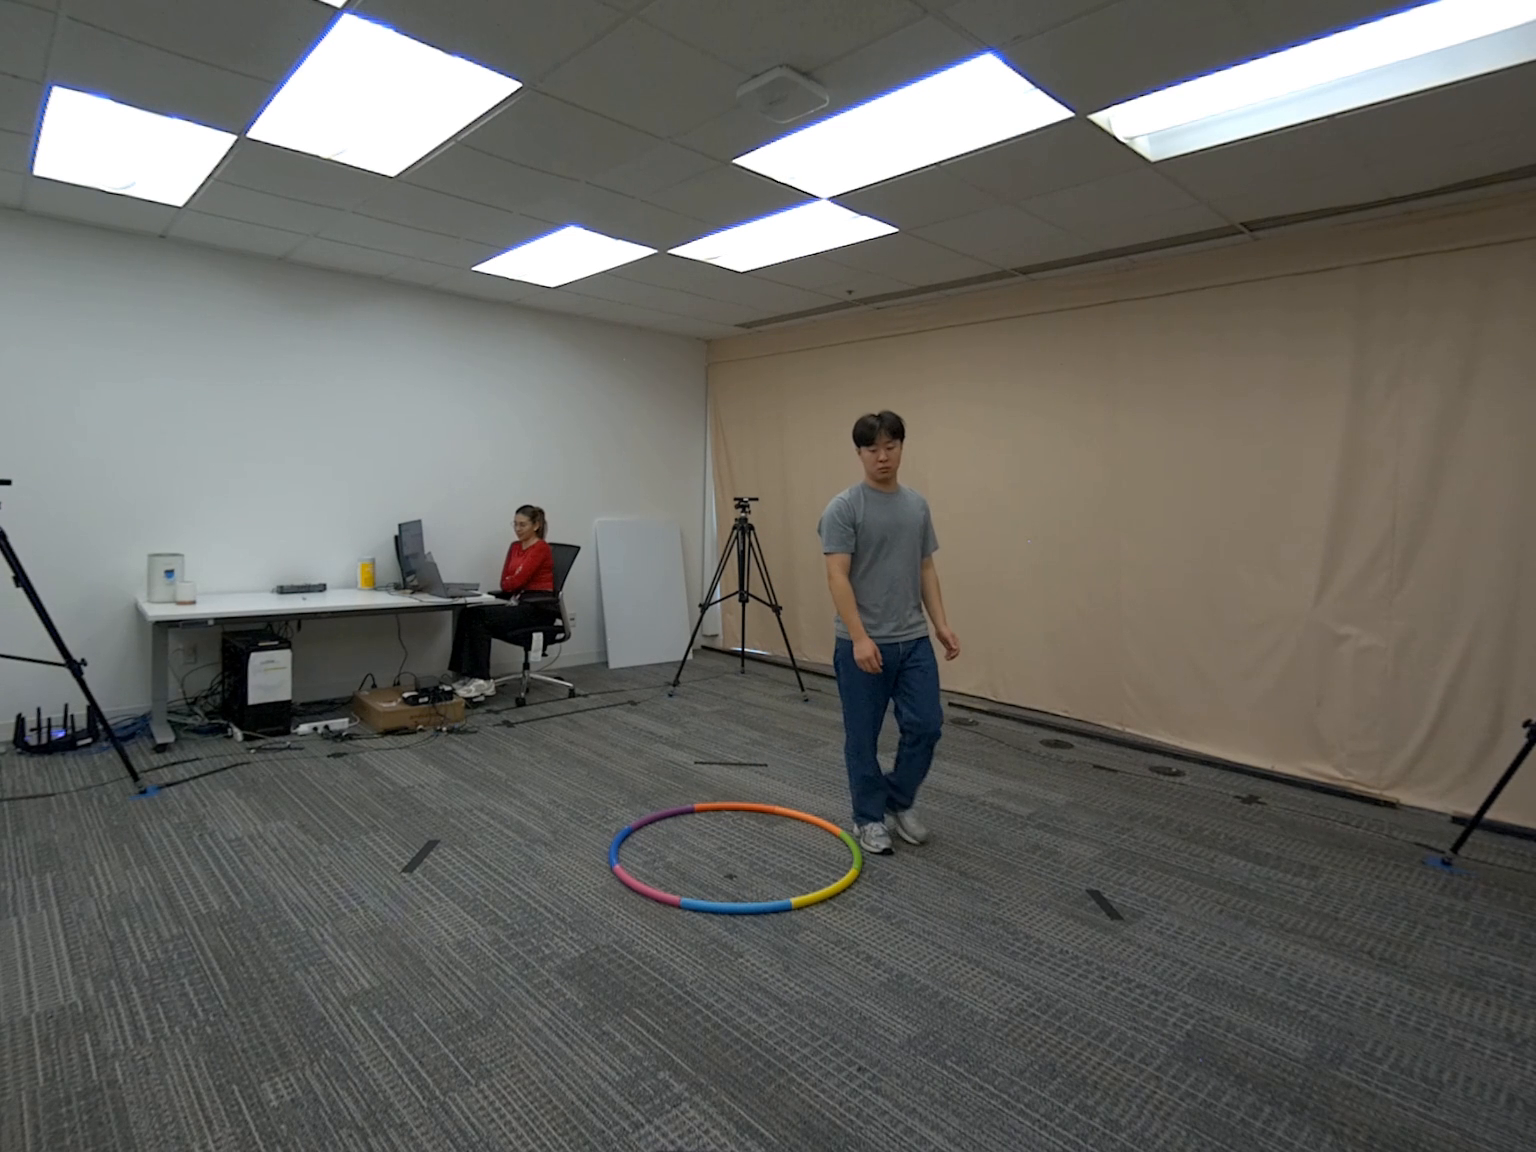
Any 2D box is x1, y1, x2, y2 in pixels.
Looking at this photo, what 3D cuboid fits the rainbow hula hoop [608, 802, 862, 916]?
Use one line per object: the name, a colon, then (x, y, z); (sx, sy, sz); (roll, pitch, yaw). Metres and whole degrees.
rainbow hula hoop: (-0.142, 1.059, 3.300); (0.978, 0.035, 0.982); (1, 5, -1)
